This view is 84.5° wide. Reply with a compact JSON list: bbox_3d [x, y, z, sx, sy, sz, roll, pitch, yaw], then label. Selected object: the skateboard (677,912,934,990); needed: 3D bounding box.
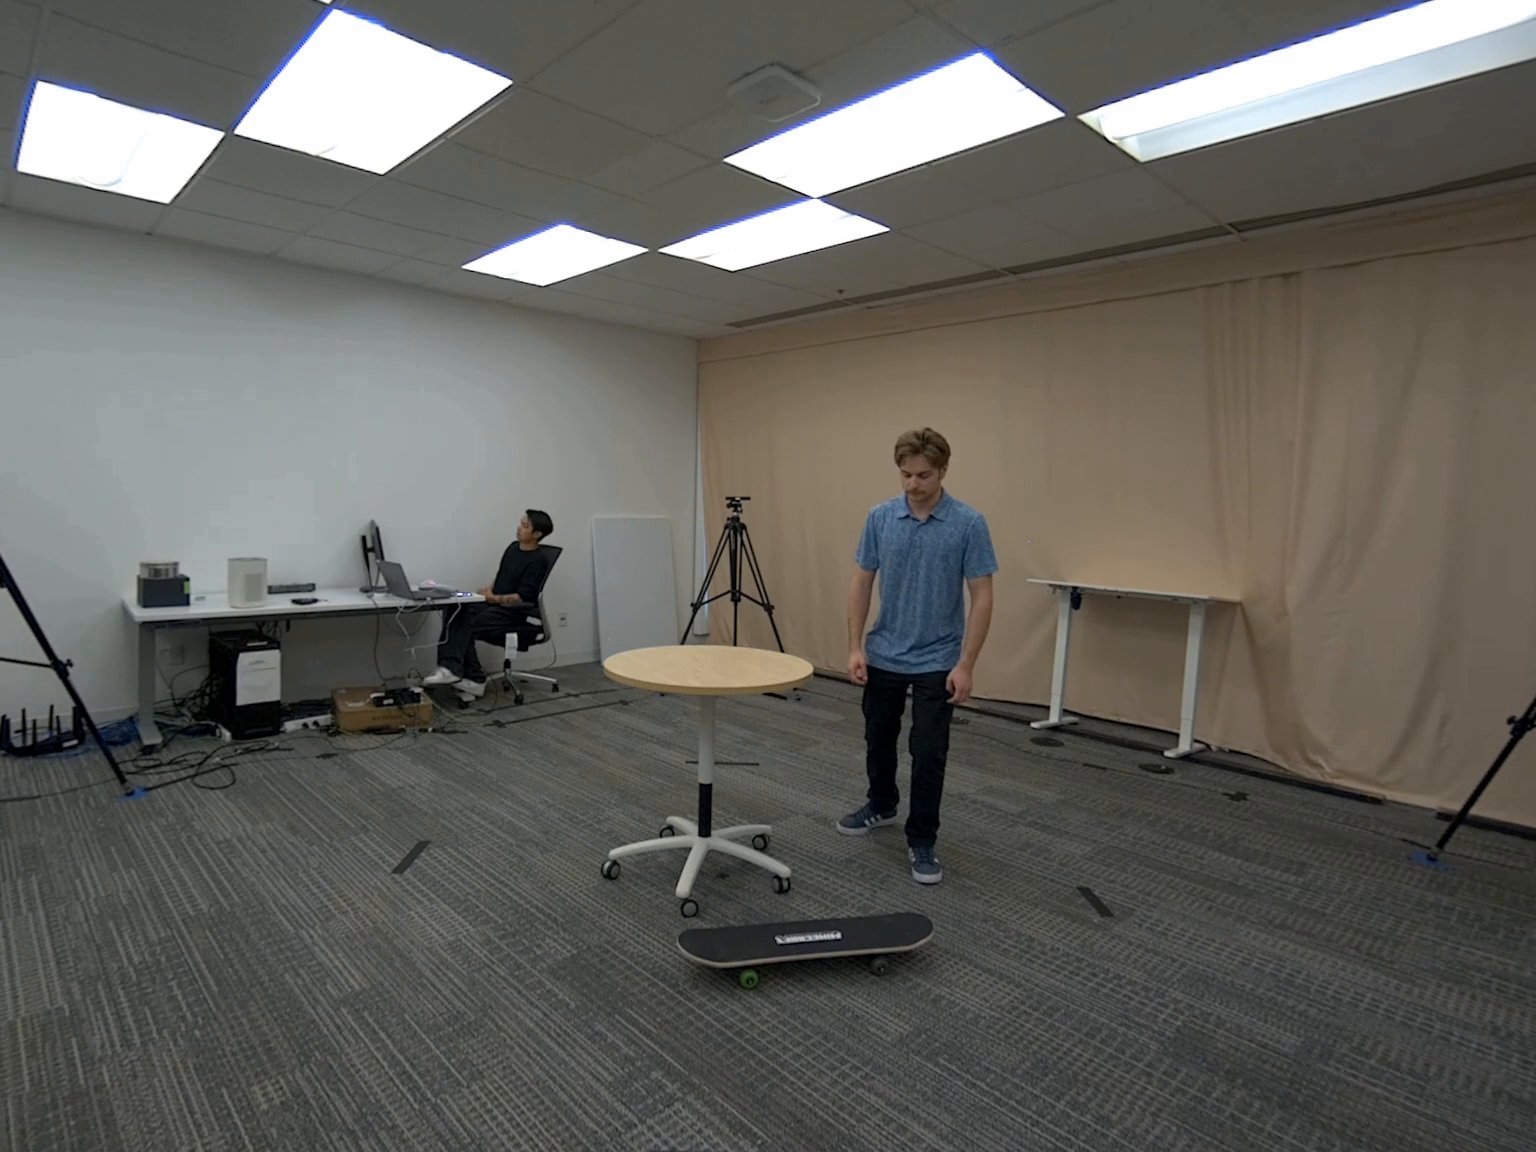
[{"bbox_3d":[0.116,1.111,2.511,0.778,0.110,0.196,0,5,-12],"label":"skateboard"}]
